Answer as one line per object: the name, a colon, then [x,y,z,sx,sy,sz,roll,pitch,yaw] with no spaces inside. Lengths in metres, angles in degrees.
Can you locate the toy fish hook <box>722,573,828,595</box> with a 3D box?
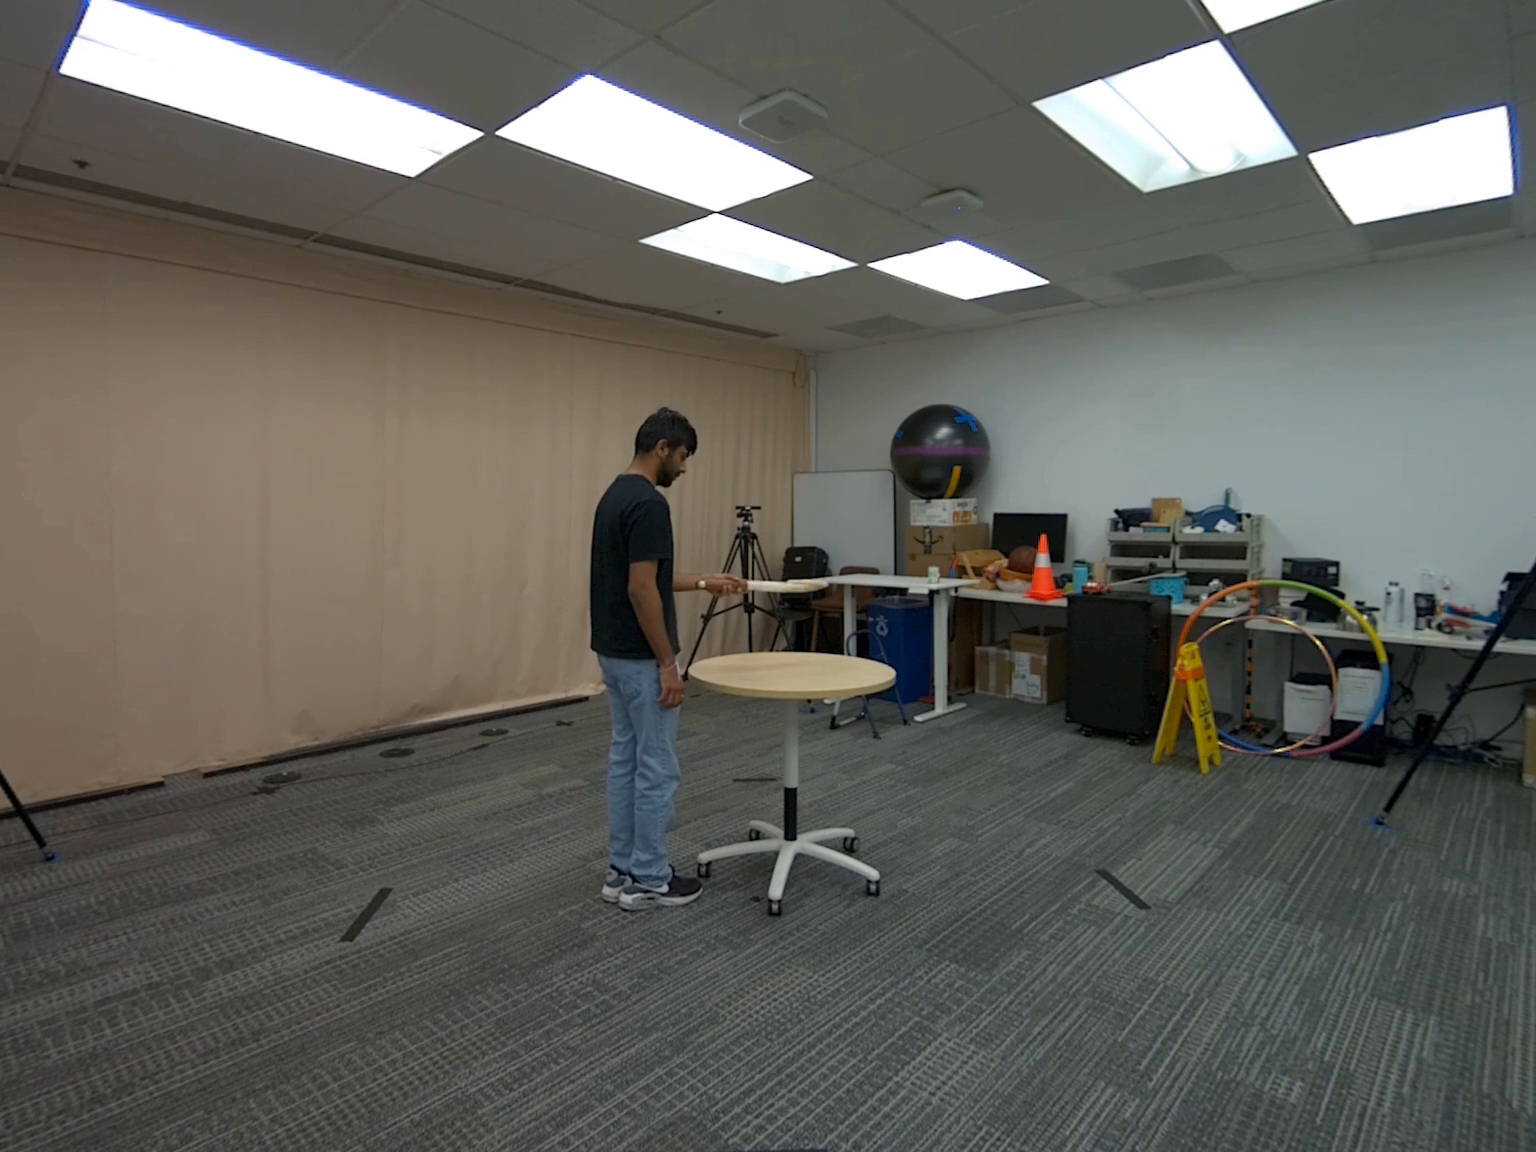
toy fish hook: [-0.030,0.037,3.145,0.495,0.049,0.228,0,-11,-24]
